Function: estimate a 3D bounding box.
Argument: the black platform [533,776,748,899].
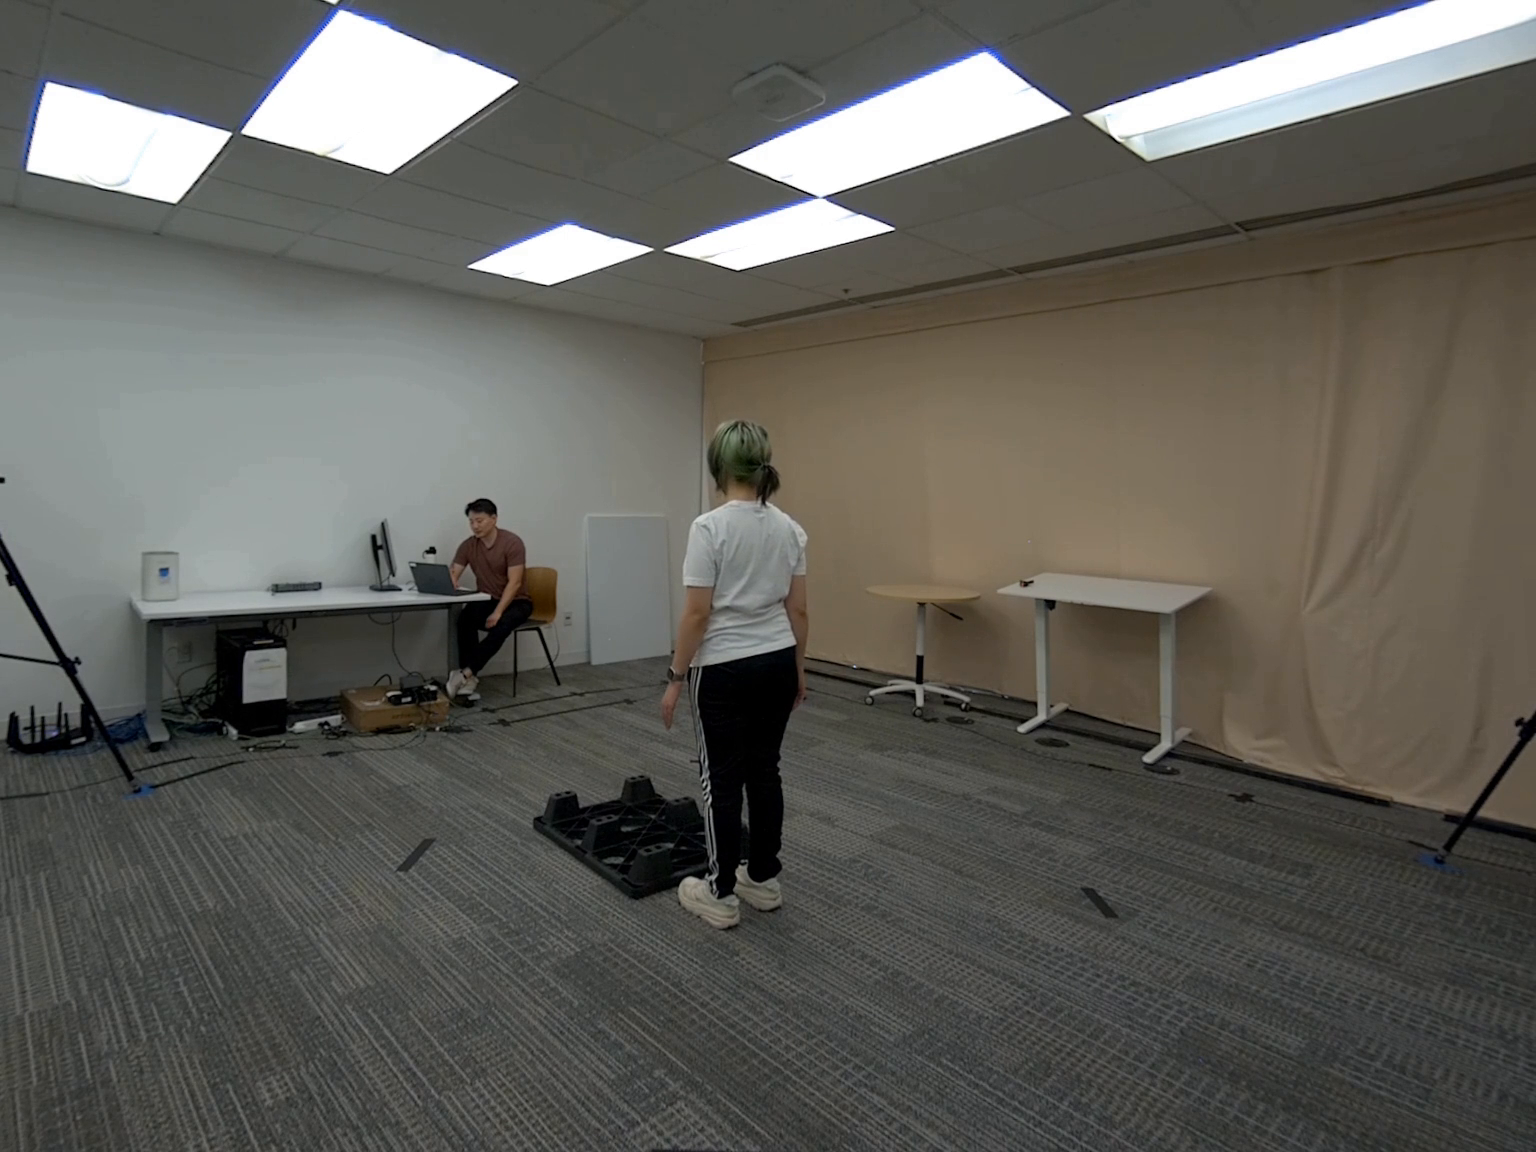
[{"bbox_3d":[-0.497,1.005,3.382,0.592,0.143,0.826,-4,7,-40],"label":"black platform"}]
